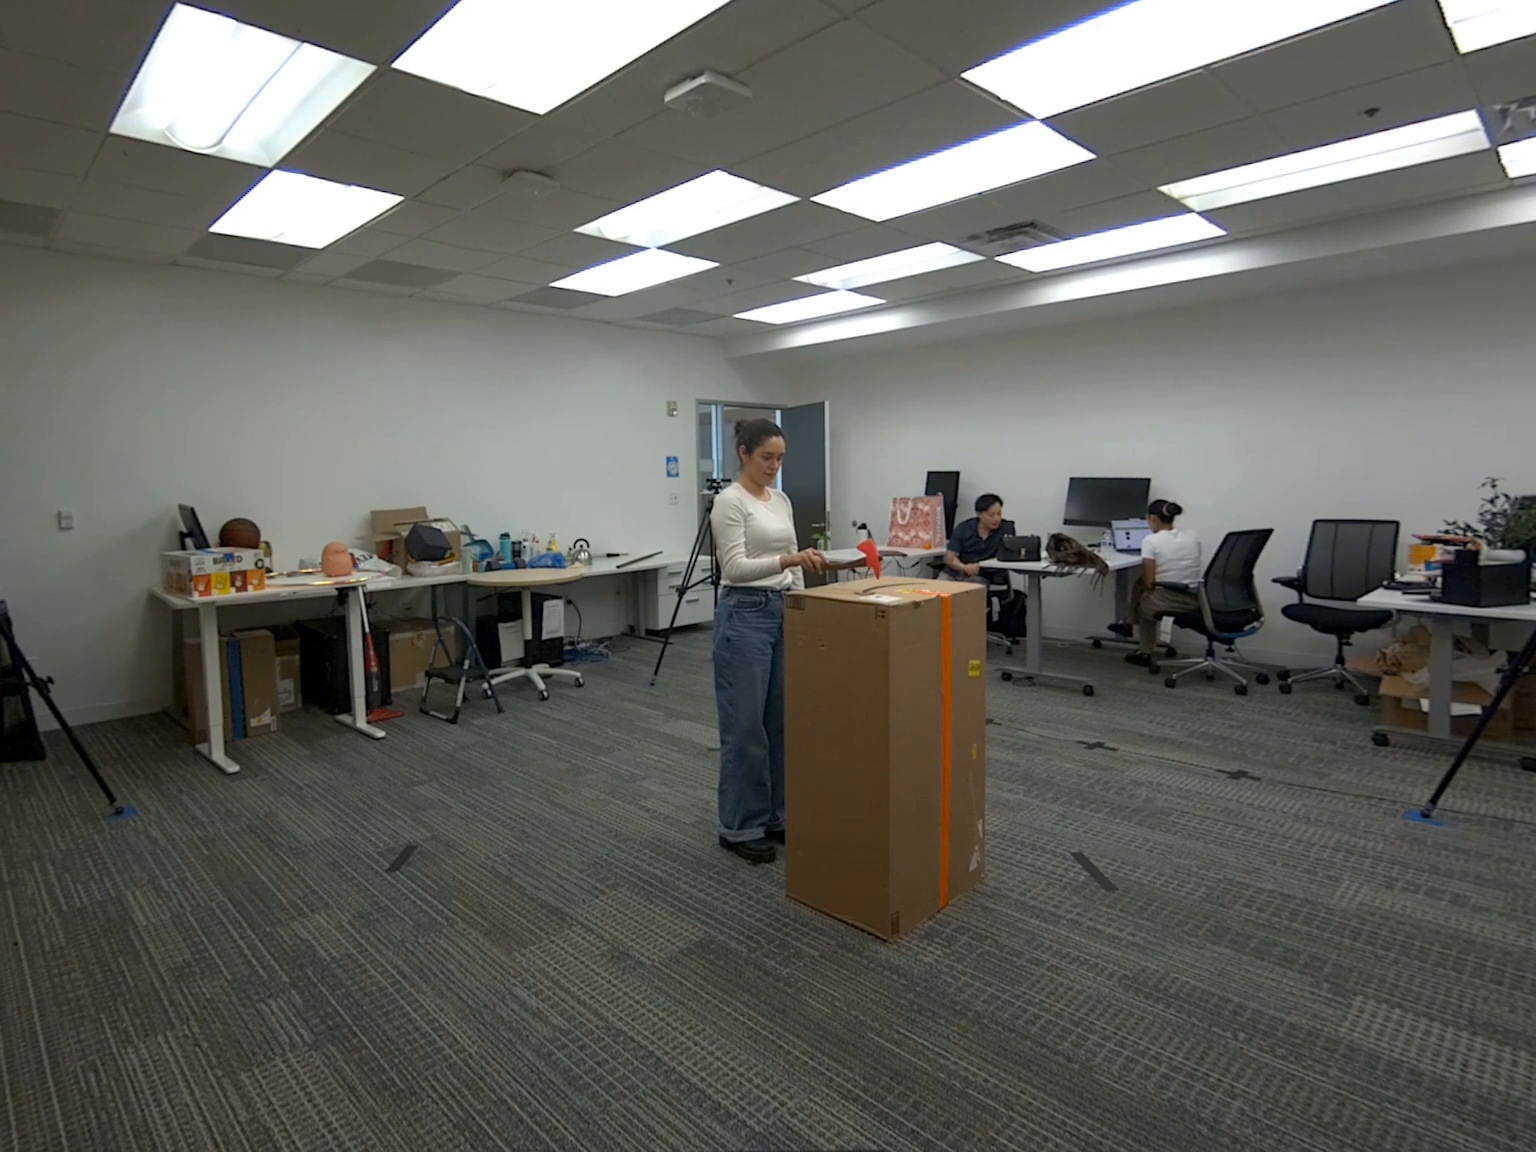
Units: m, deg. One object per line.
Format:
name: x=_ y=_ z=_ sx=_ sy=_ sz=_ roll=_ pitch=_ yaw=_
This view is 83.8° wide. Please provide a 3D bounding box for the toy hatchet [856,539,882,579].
toy hatchet: x=0.260 y=-0.063 z=2.854 sx=0.276 sy=0.130 sz=0.029 roll=9 pitch=11 yaw=23
